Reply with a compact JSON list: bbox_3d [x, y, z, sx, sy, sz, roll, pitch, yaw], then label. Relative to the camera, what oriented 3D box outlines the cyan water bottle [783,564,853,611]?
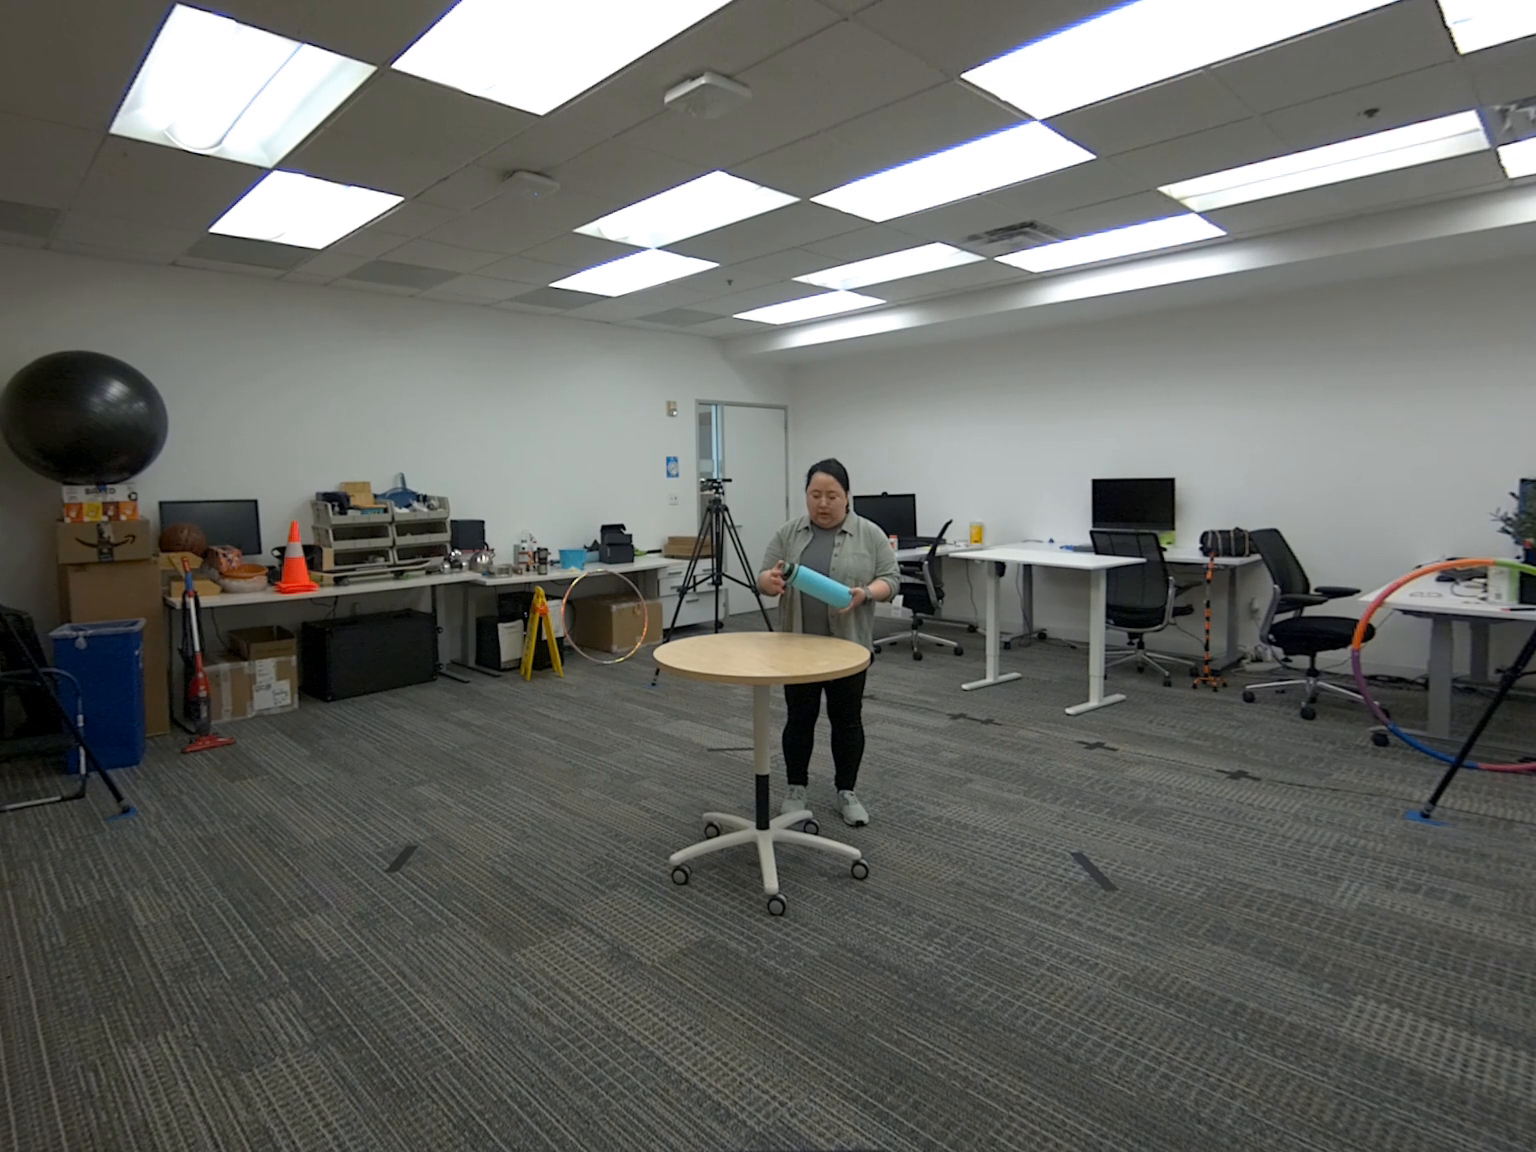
[{"bbox_3d":[0.186,0.039,3.268,0.283,0.092,0.092,23,4,0],"label":"cyan water bottle"}]
